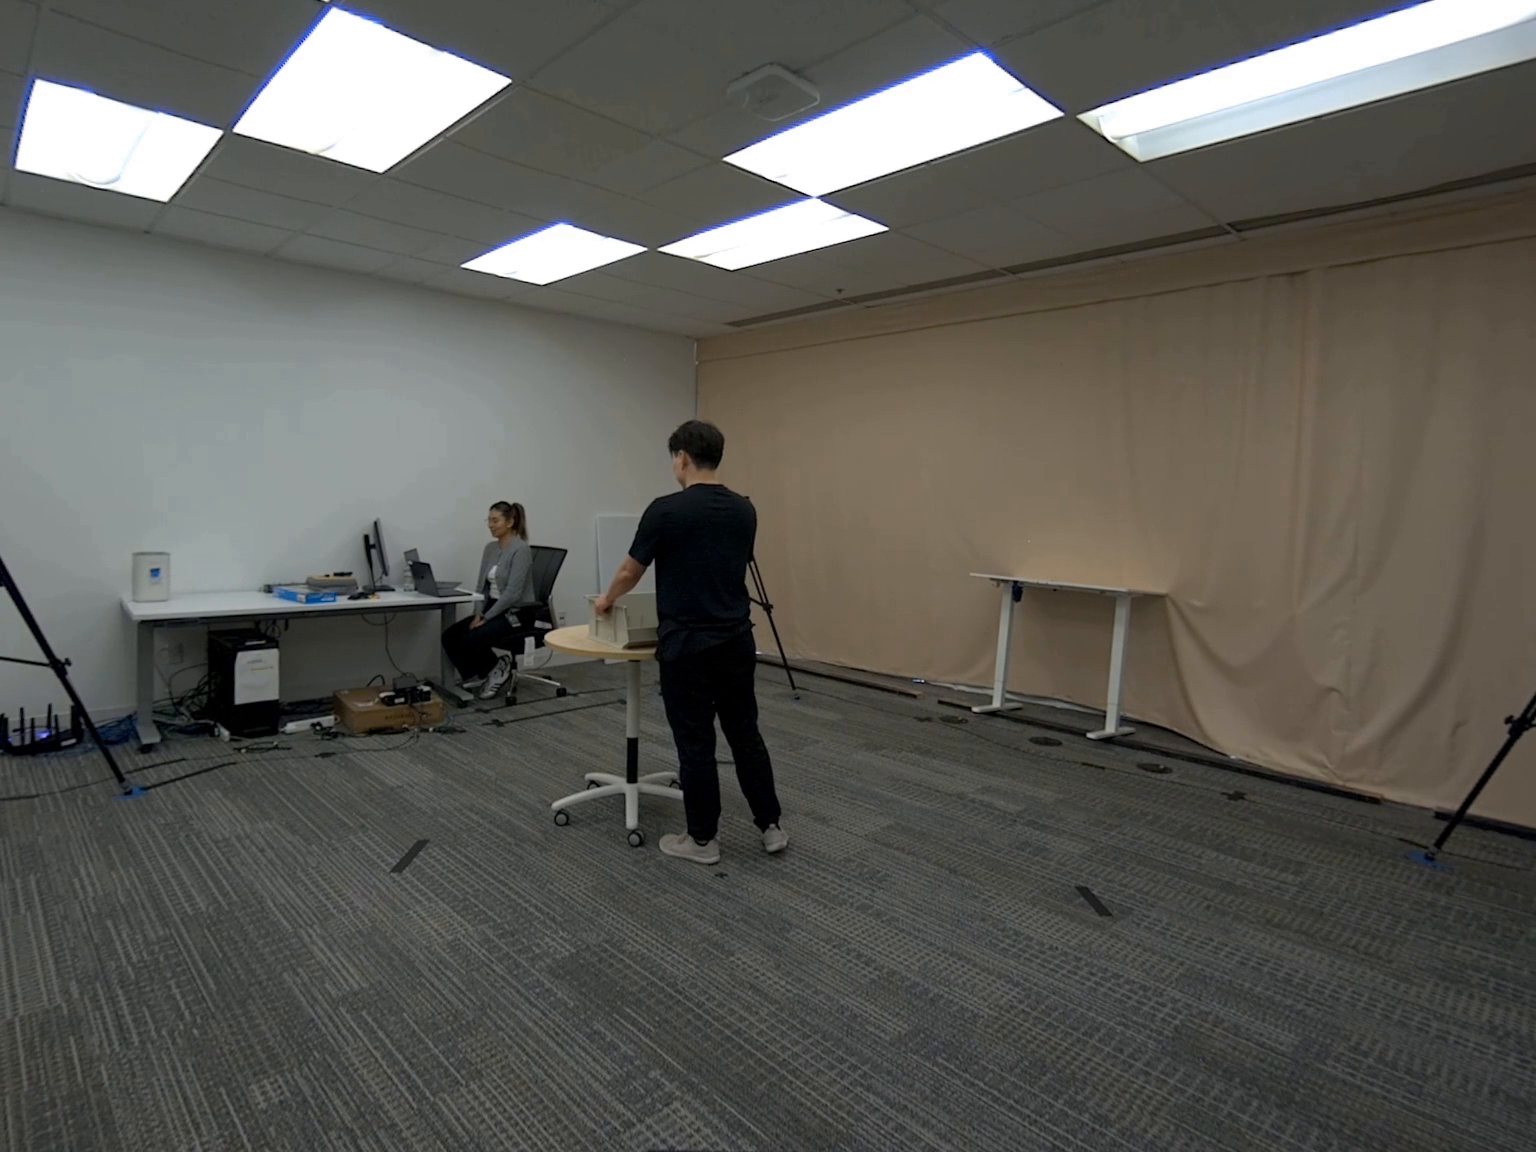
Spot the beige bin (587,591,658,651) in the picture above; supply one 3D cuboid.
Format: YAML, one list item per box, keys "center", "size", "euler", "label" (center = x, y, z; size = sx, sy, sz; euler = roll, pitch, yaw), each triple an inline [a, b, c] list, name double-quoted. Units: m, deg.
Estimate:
- center: [-0.501, 0.184, 3.551]
  size: [0.413, 0.188, 0.386]
  euler: [-3, 5, -37]
  label: "beige bin"
